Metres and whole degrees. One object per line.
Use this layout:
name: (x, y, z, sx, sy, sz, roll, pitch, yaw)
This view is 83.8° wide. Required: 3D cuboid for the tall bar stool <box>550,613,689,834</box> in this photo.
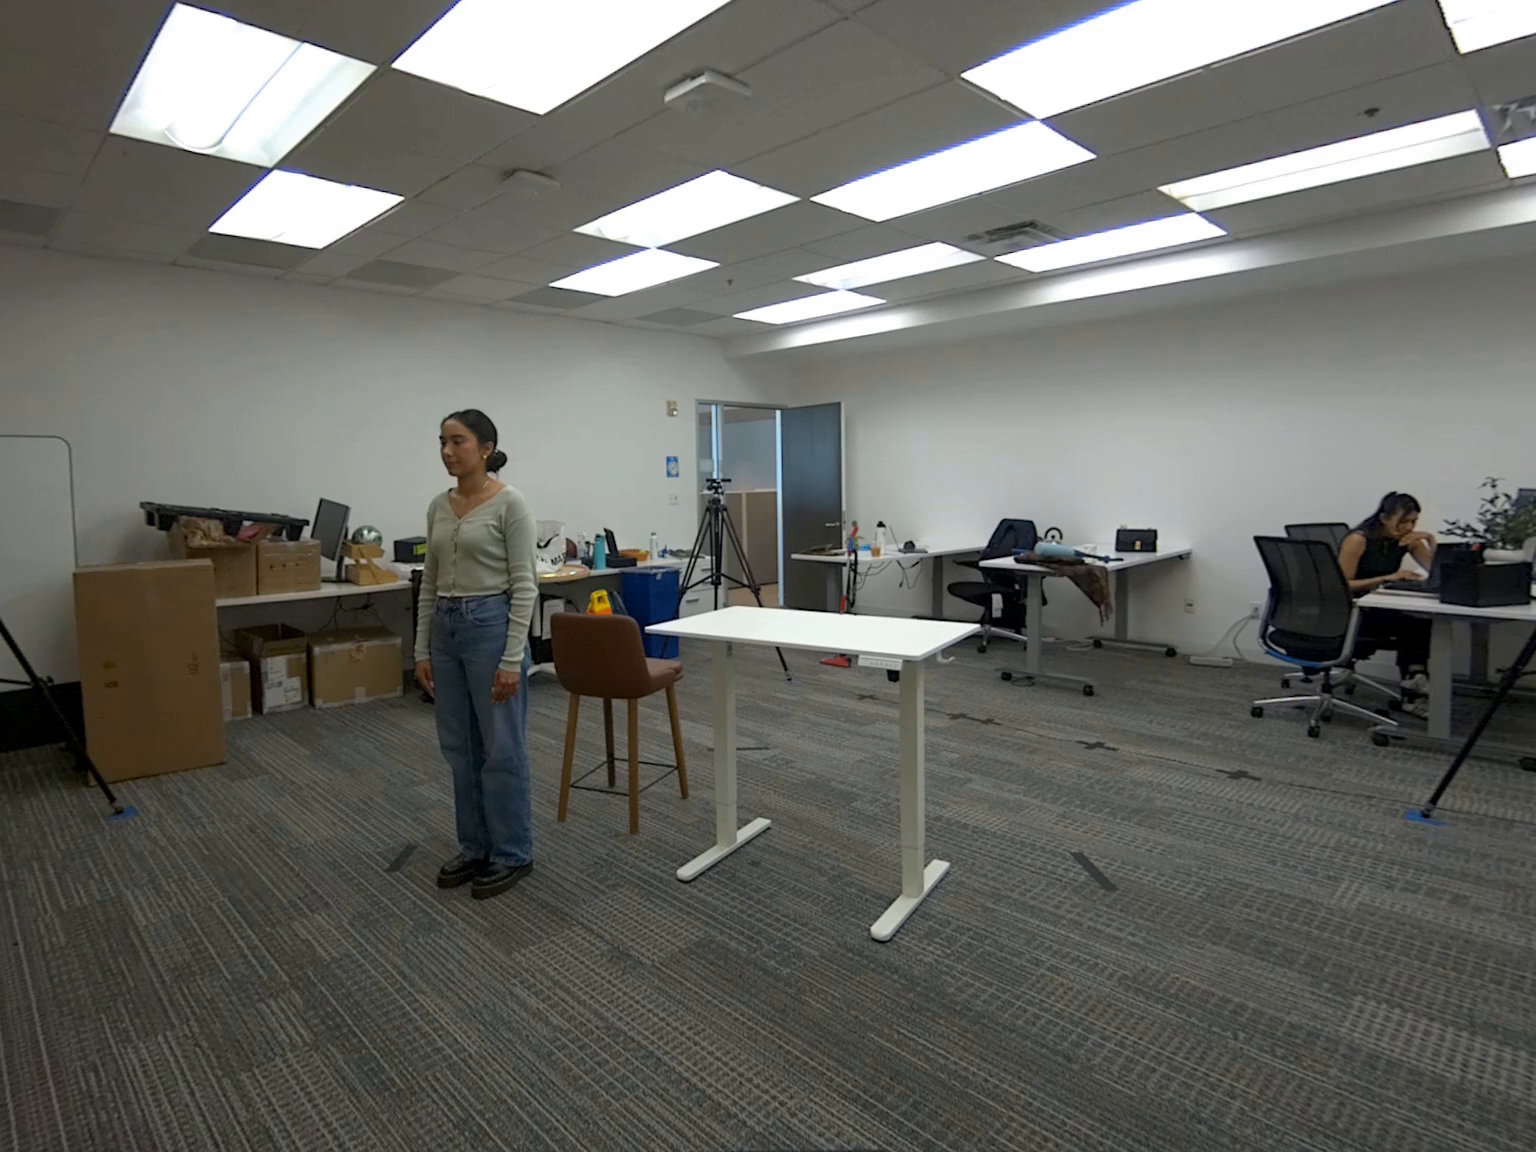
tall bar stool: (-0.629, 0.562, 3.621, 0.467, 0.885, 0.460, 1, 6, 24)
